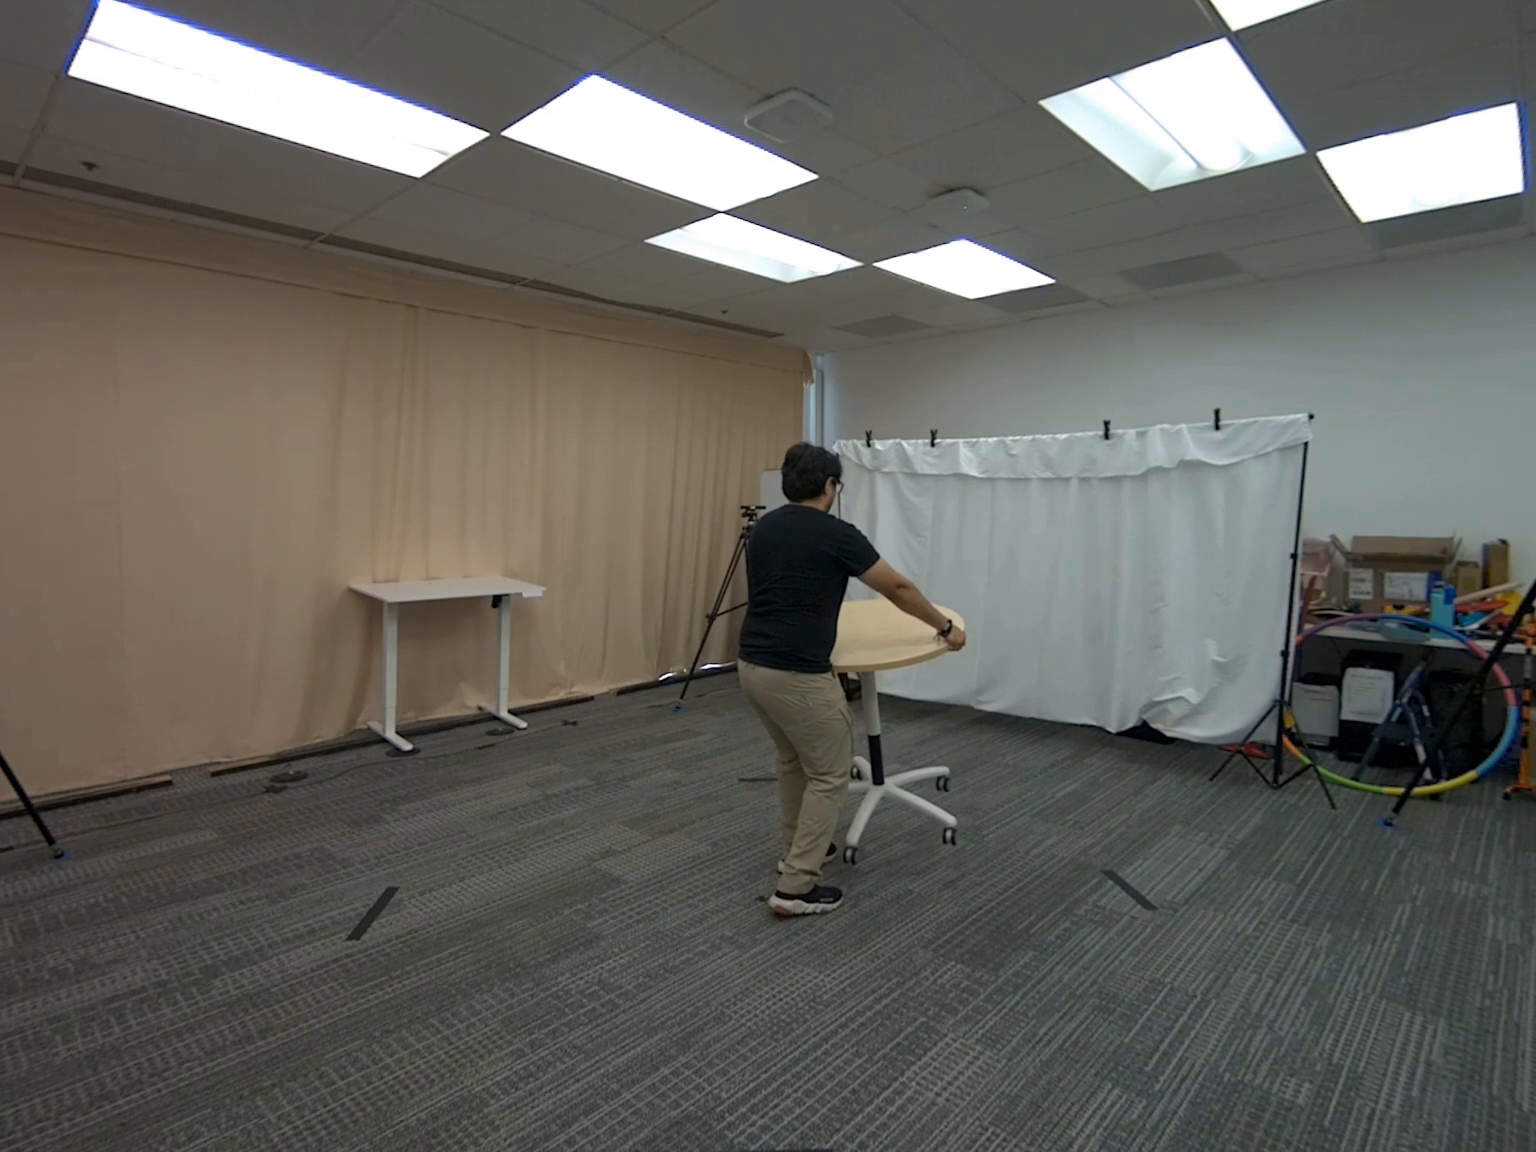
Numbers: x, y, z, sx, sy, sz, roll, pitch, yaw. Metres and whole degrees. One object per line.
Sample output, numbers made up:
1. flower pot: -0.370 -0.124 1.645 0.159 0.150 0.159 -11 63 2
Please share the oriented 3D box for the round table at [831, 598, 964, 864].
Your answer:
1. round table: 0.412 0.594 3.386 0.786 0.779 0.792 -8 13 0
